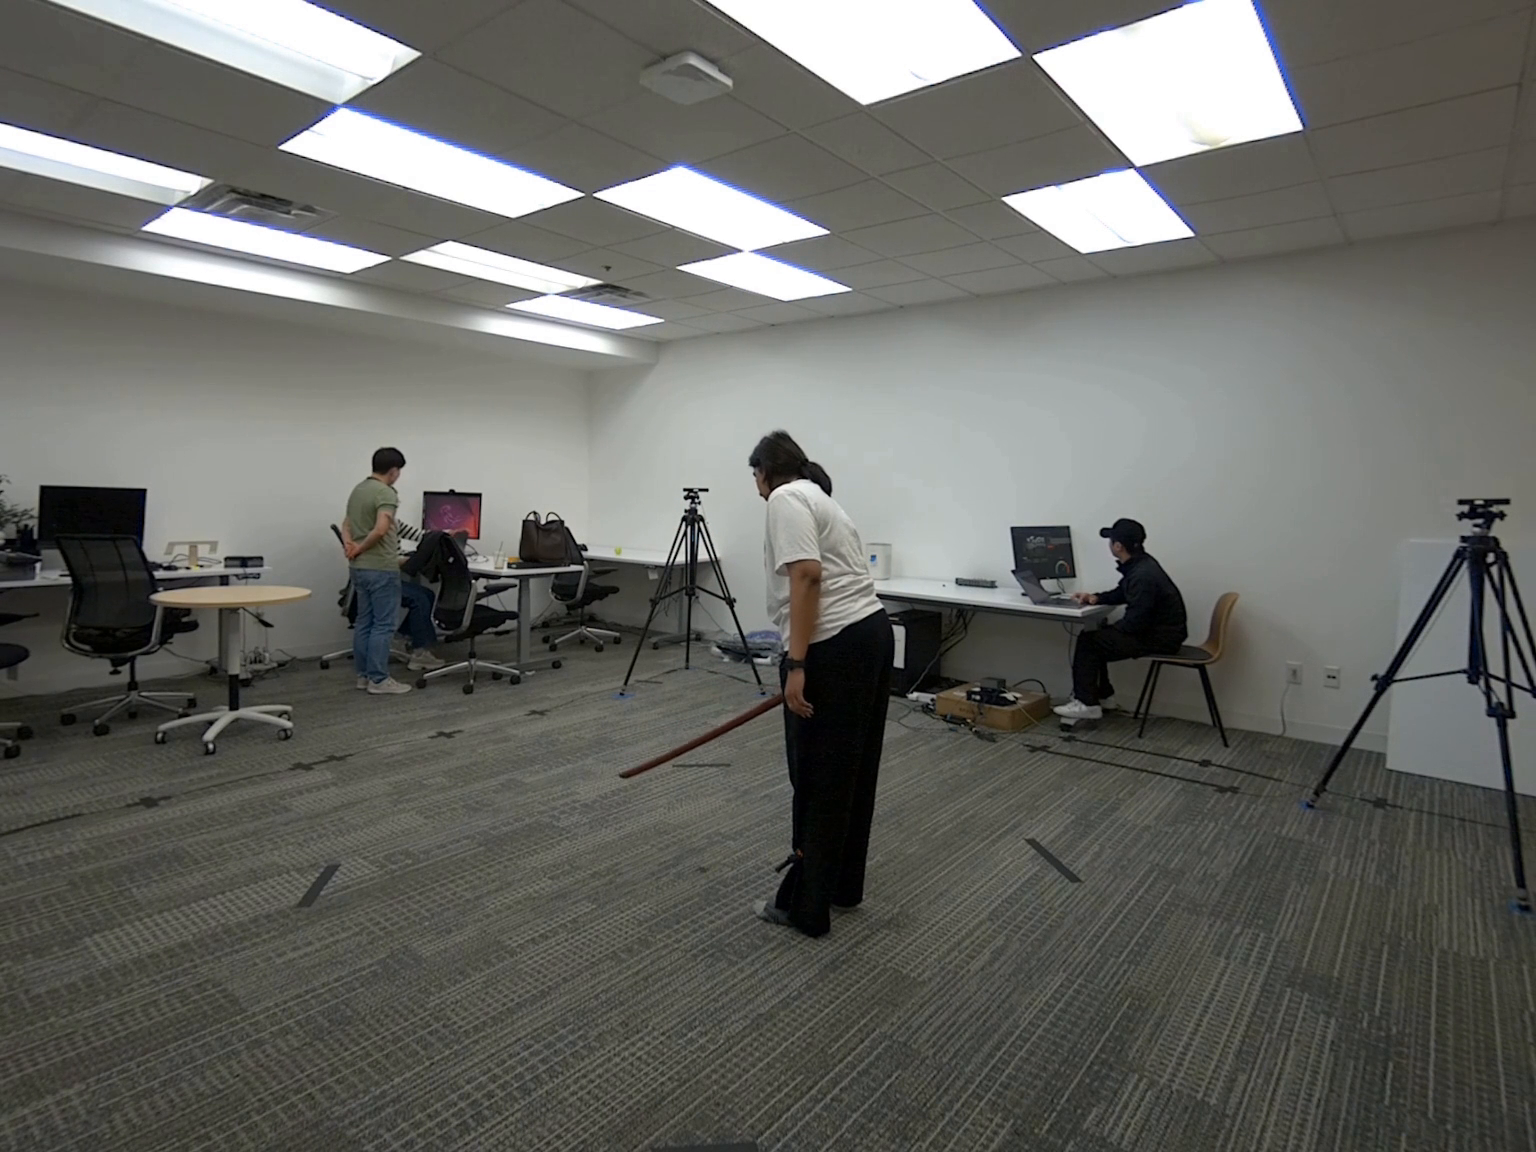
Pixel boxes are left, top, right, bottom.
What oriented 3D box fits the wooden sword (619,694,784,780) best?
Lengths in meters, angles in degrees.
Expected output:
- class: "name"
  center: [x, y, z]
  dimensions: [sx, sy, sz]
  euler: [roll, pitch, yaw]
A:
- class: "wooden sword"
  center: [-0.253, 0.612, 3.262]
  dimensions: [1.034, 0.053, 0.023]
  euler: [-32, -36, 29]
